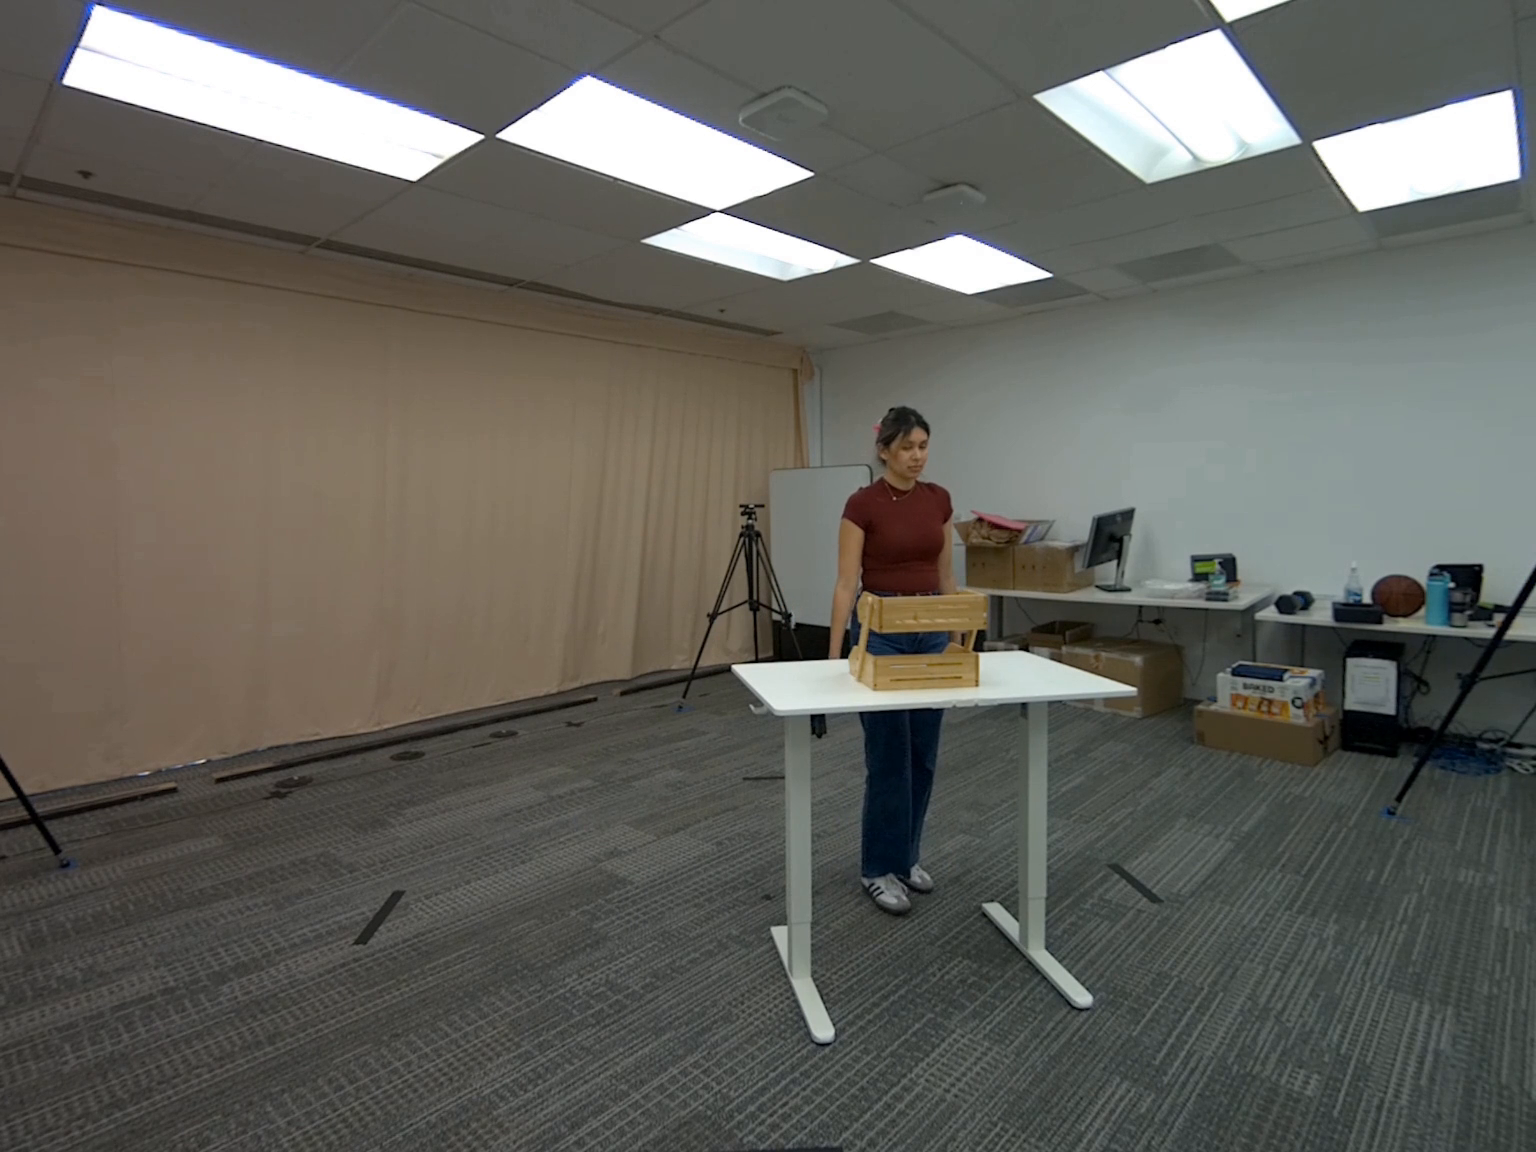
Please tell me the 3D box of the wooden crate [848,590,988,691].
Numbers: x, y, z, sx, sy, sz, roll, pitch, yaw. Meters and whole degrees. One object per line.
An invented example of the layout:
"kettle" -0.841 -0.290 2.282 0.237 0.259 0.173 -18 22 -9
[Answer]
"wooden crate" 0.416 0.170 2.392 0.322 0.272 0.305 -2 5 -9
